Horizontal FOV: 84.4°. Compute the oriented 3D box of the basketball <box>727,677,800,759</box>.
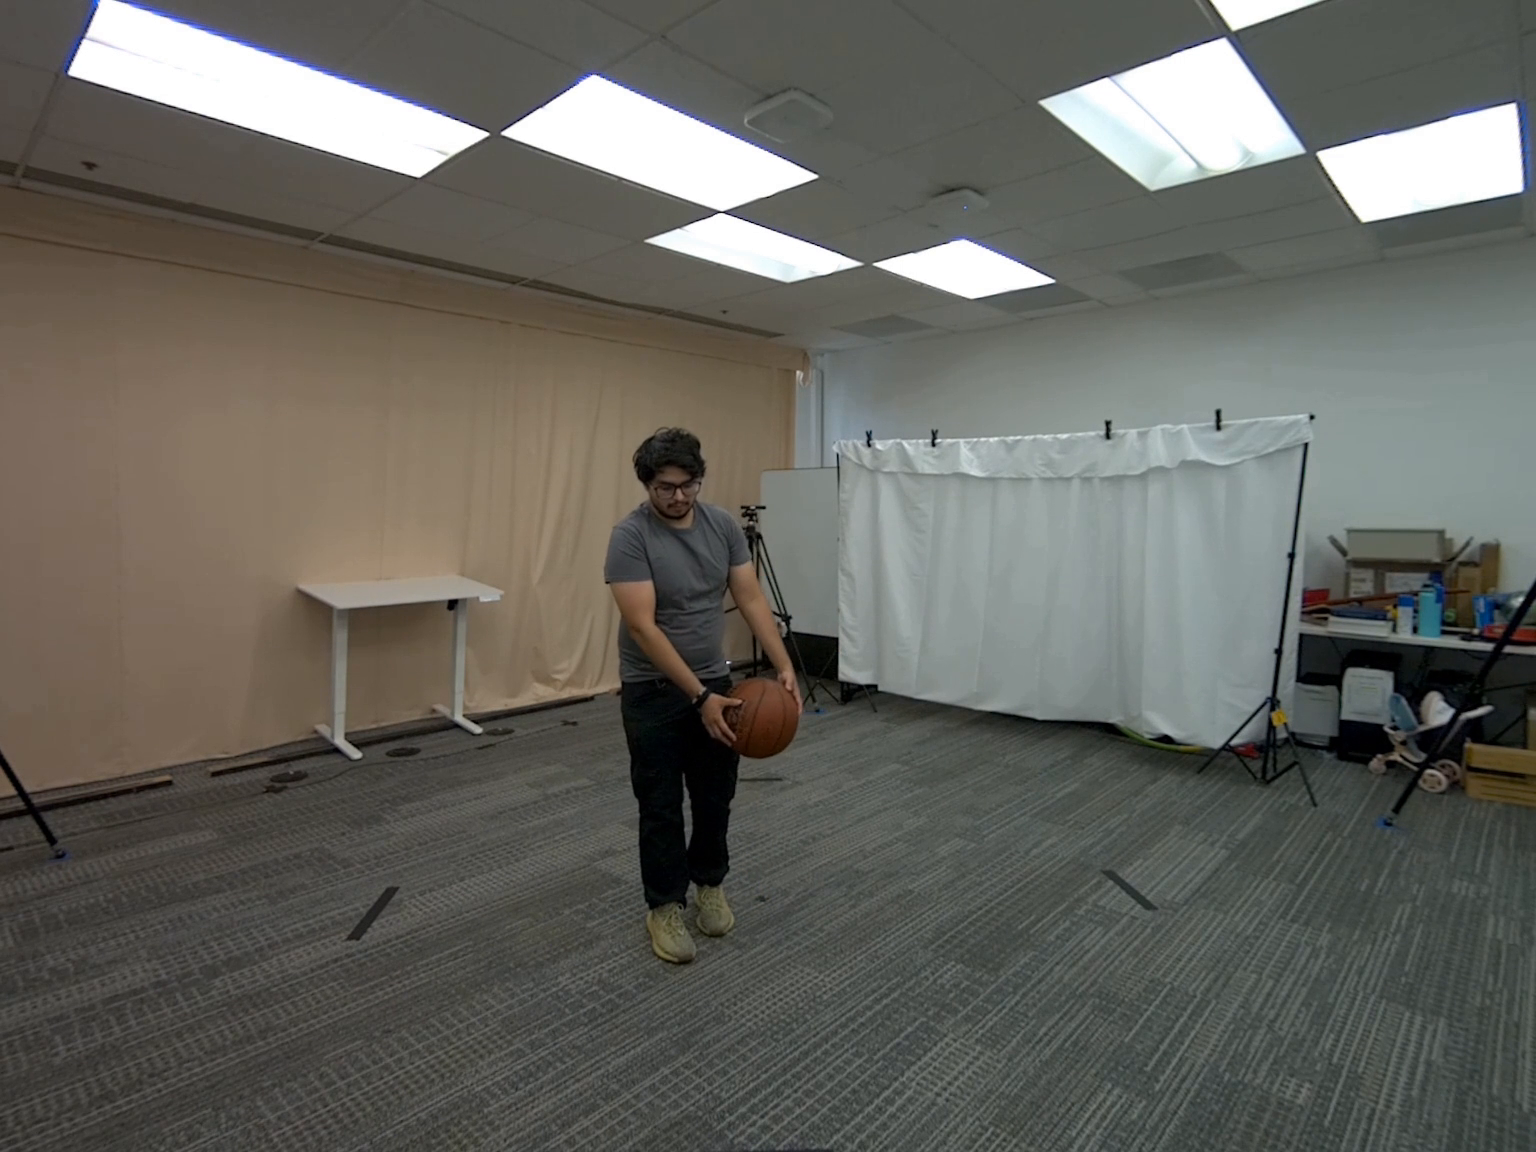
[{"bbox_3d":[-0.026,0.420,2.513,0.236,0.235,0.237,0,4,-2],"label":"basketball"}]
